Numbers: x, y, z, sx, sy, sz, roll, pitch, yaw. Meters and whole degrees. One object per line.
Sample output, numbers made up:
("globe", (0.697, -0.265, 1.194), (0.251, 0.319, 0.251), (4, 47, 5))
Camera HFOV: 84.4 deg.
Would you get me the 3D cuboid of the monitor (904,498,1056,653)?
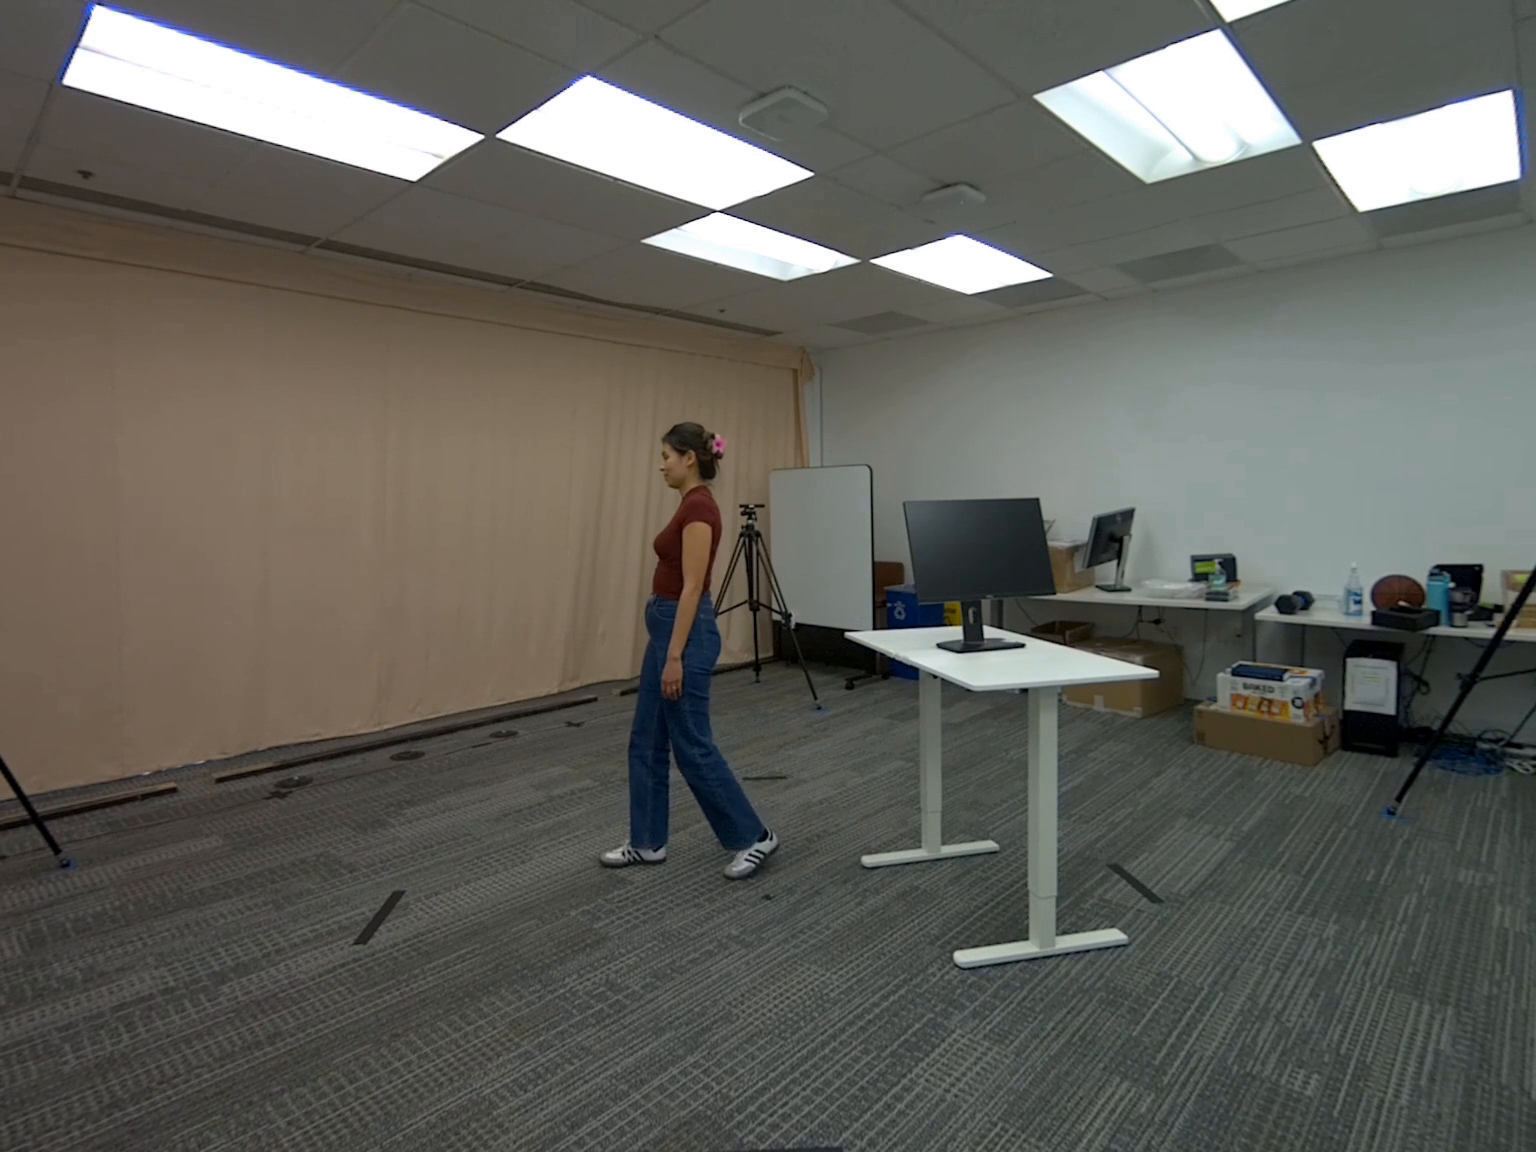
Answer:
("monitor", (0.734, -0.005, 2.936), (0.529, 0.522, 0.191), (-3, 1, -18))
